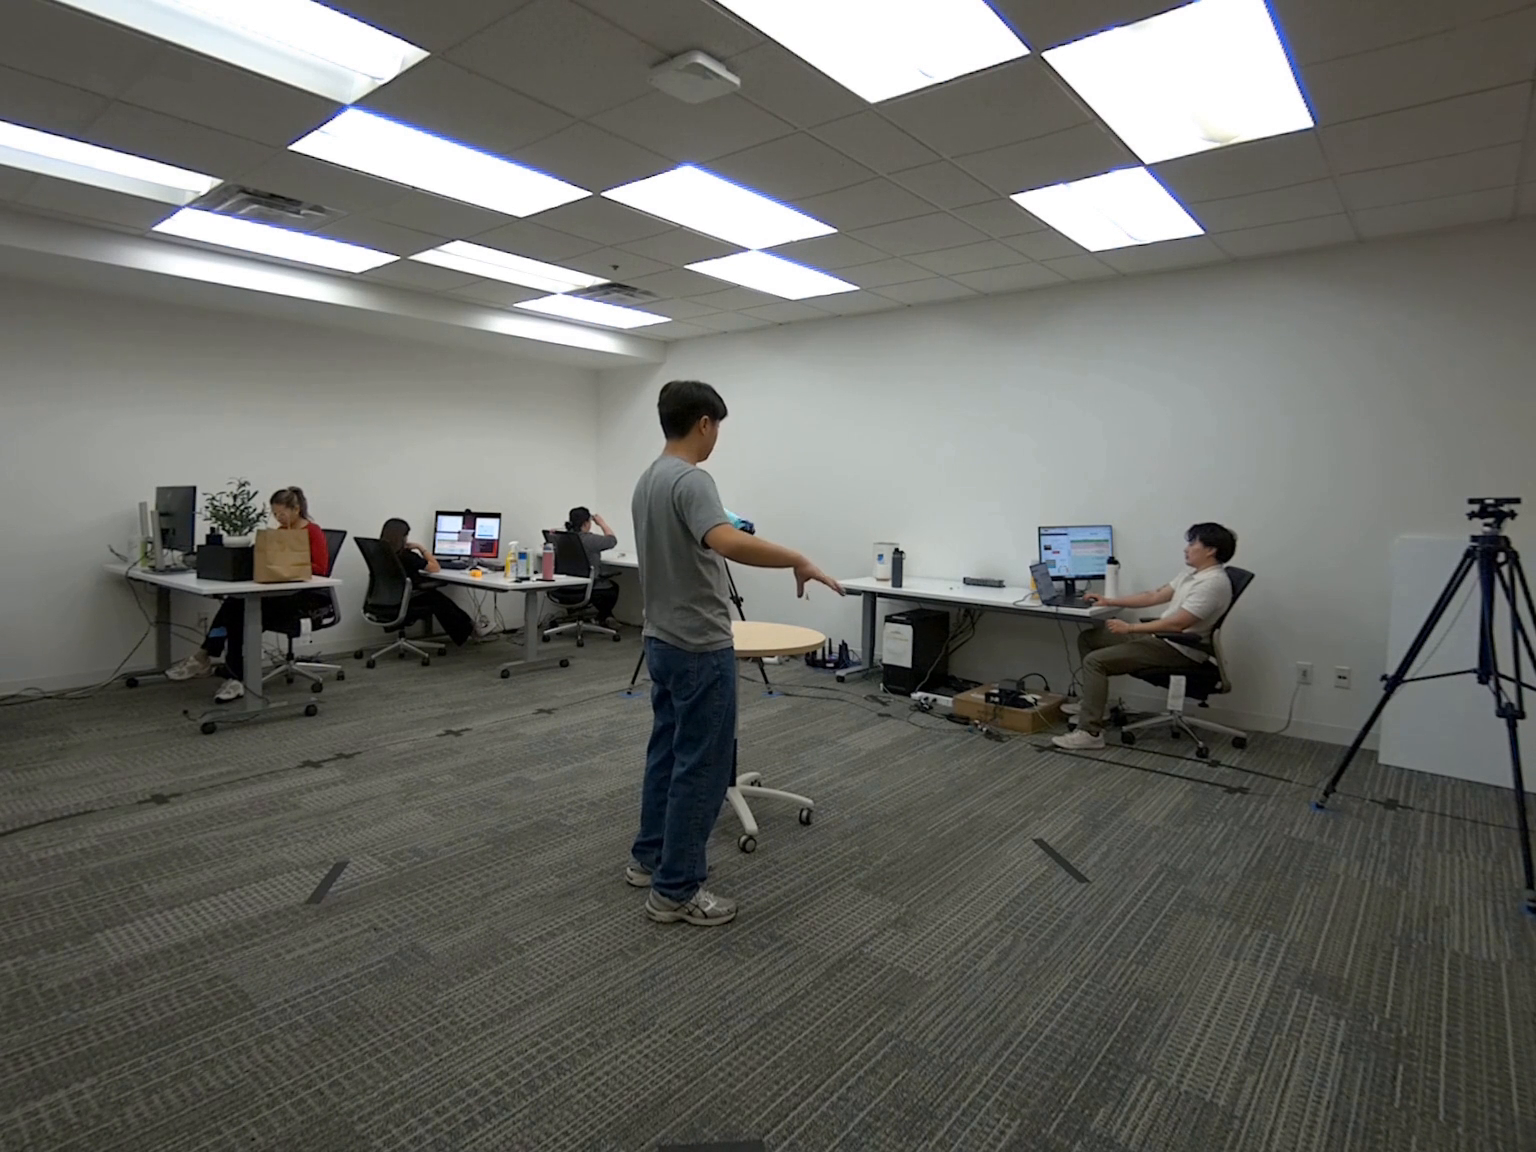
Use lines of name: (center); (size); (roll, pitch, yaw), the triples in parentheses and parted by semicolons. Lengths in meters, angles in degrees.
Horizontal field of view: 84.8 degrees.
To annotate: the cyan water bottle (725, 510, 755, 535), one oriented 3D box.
cyan water bottle: (-0.149, -0.220, 3.295); (0.089, 0.091, 0.295); (-2, 23, -38)
